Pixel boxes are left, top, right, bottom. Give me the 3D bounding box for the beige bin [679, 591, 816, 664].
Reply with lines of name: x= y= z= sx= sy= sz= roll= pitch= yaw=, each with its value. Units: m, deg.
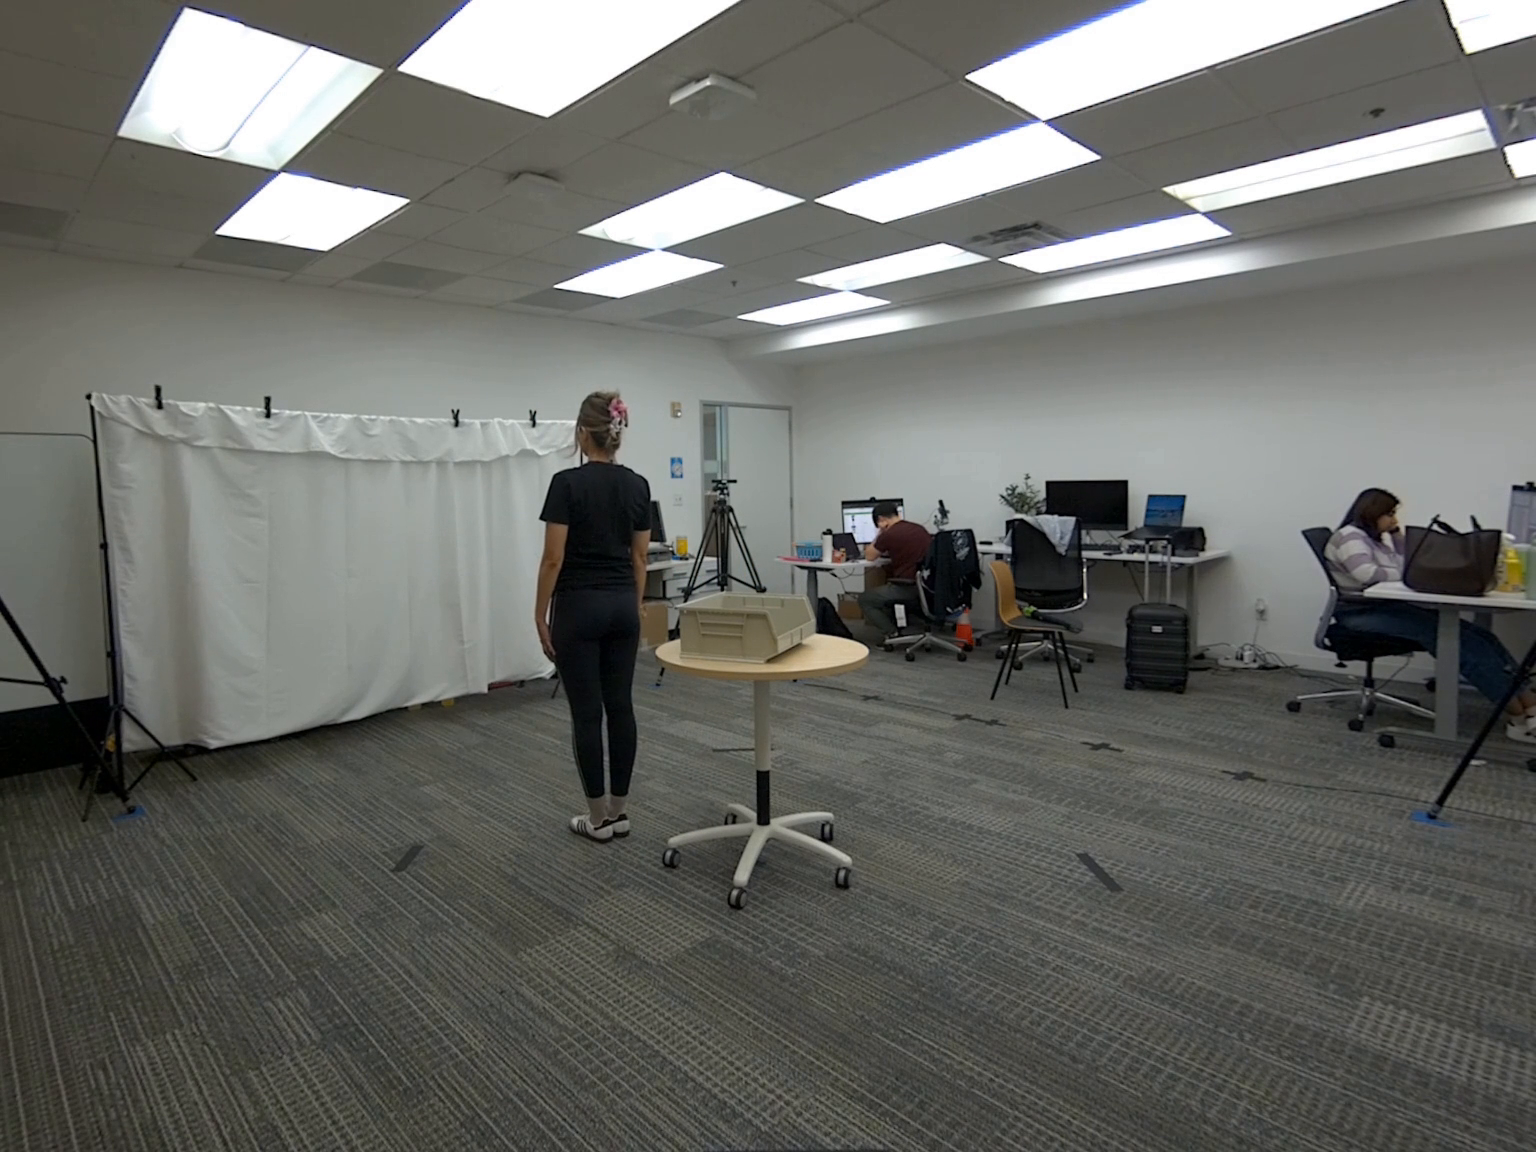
beige bin: x=-0.076 y=0.180 z=3.064 sx=0.385 sy=0.188 sz=0.415 roll=1 pitch=6 yaw=22
